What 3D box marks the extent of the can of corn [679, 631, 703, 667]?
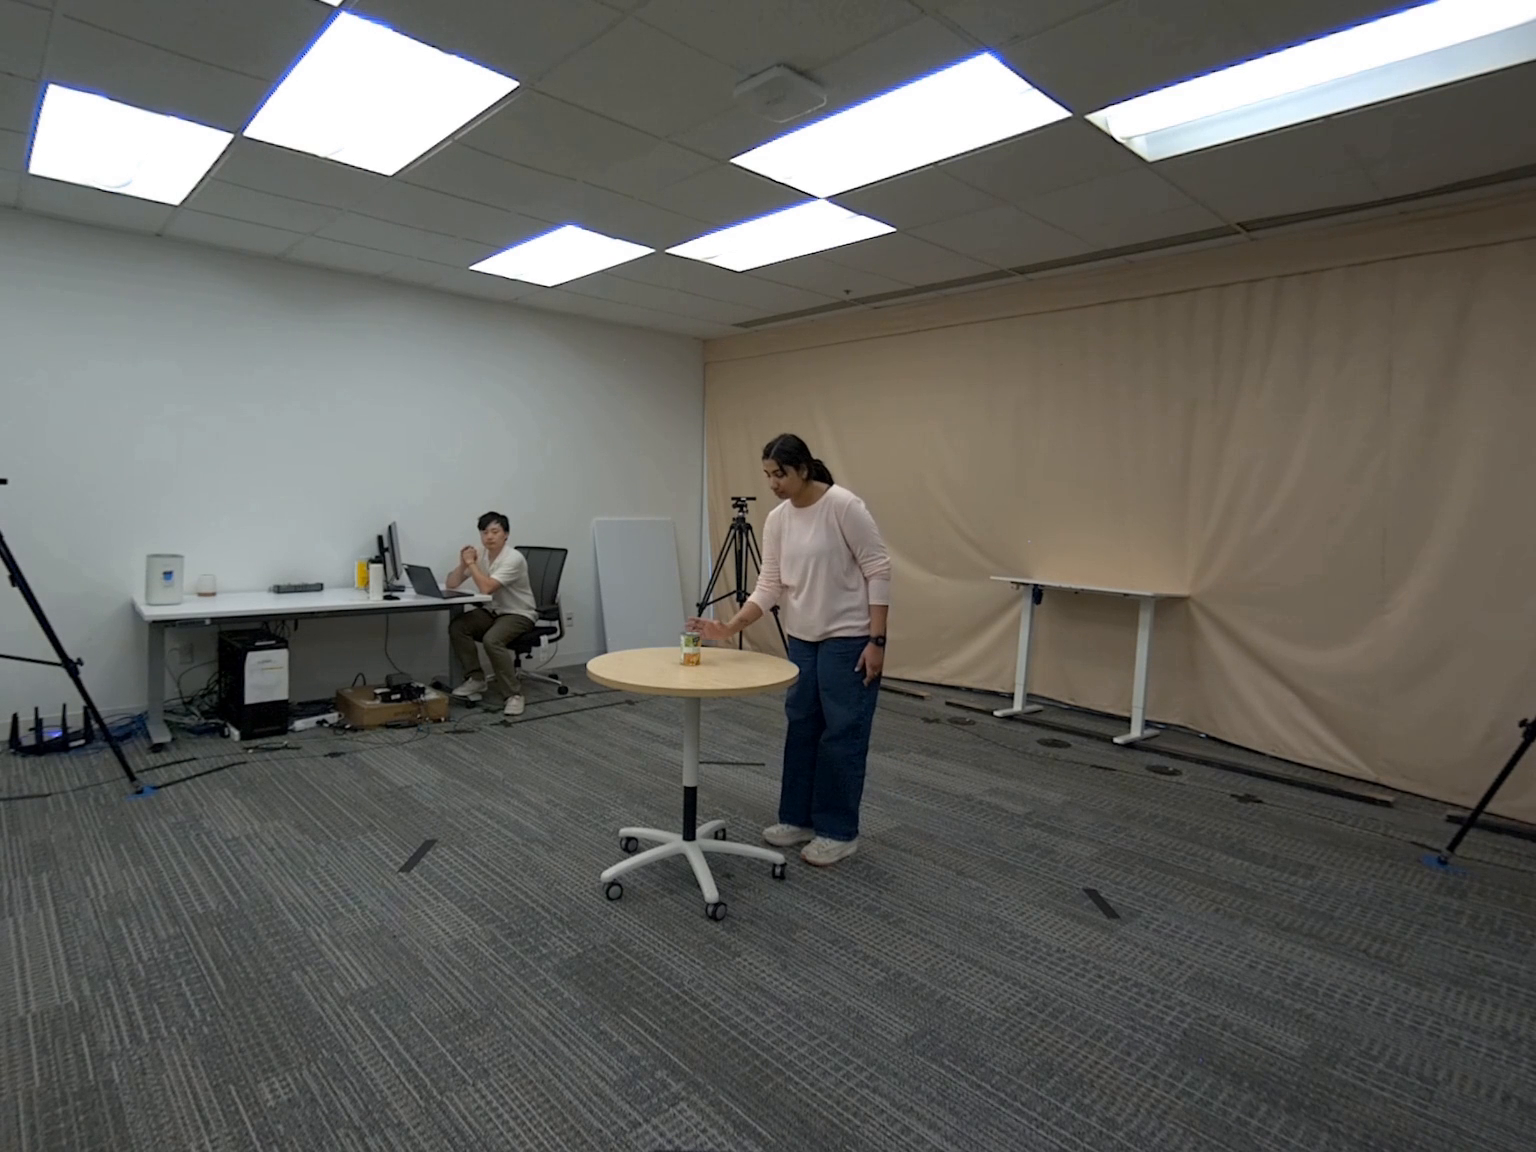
[{"bbox_3d":[-0.288,0.267,3.071,0.074,0.111,0.074,2,2,-1],"label":"can of corn"}]
